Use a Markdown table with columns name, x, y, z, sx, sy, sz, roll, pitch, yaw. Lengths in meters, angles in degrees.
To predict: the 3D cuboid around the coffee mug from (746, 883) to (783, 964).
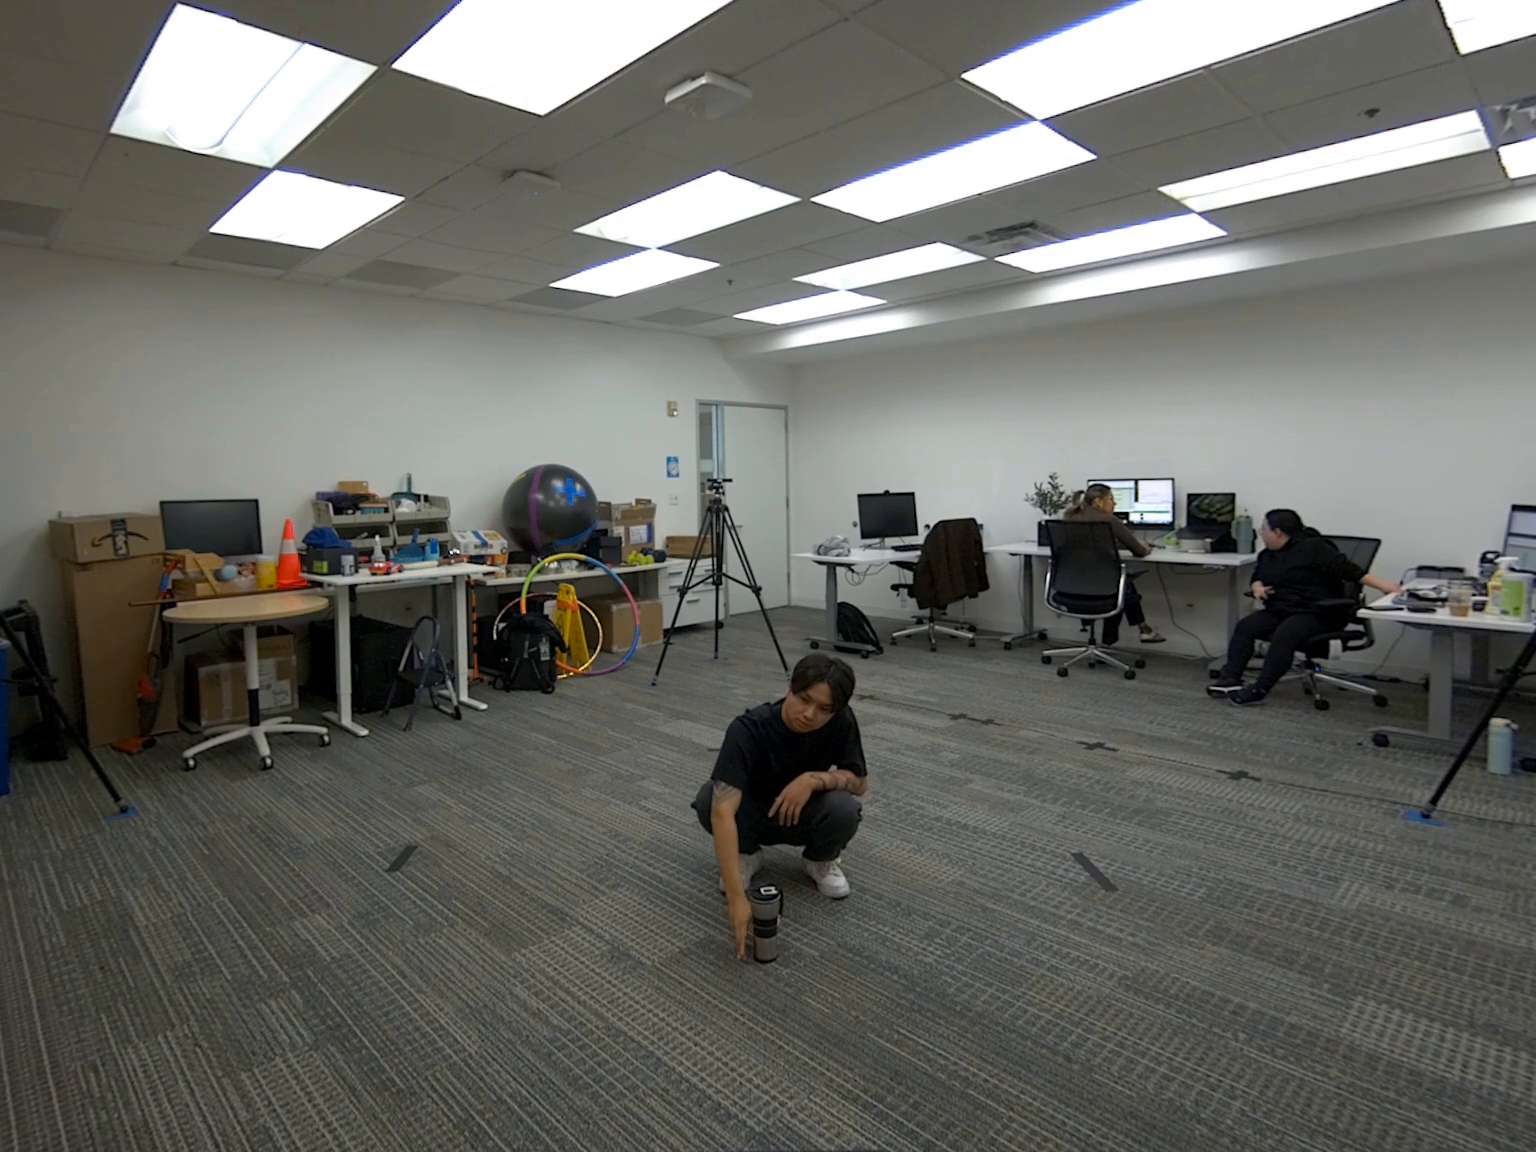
| name | x | y | z | sx | sy | sz | roll | pitch | yaw |
| --- | --- | --- | --- | --- | --- | --- | --- | --- | --- |
| coffee mug | 0.012 | 1.022 | 2.502 | 0.119 | 0.203 | 0.090 | -7 | 3 | -43 |
